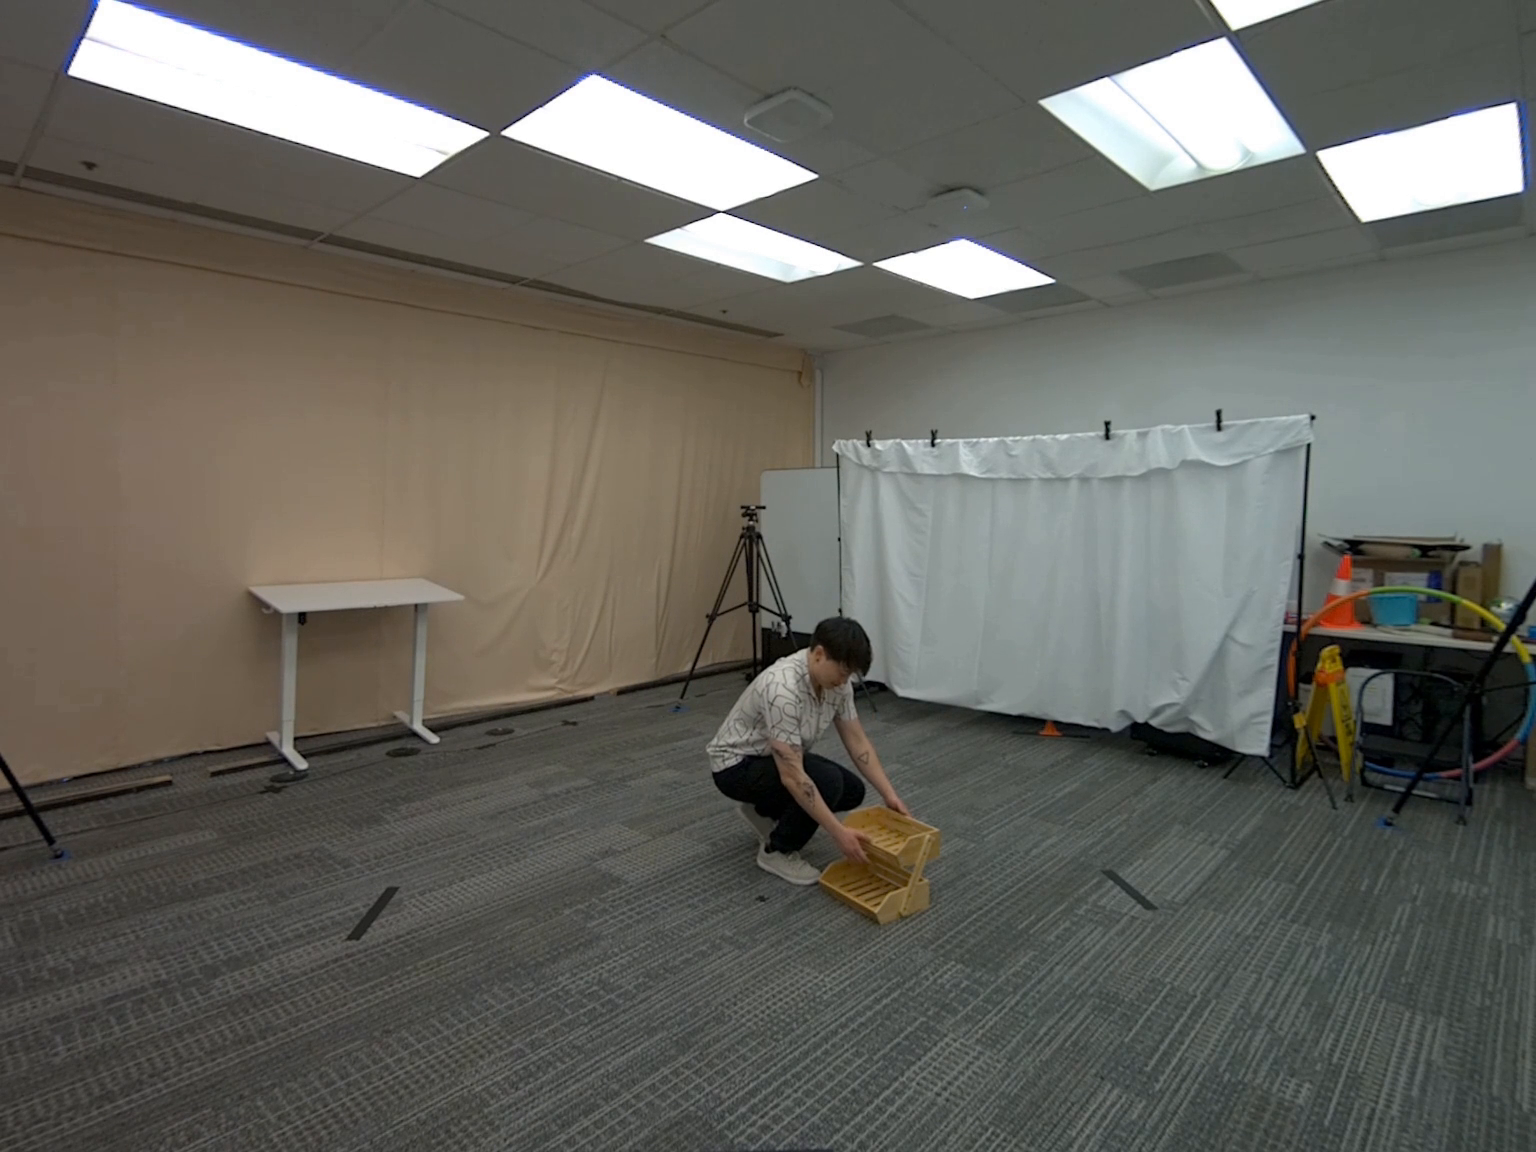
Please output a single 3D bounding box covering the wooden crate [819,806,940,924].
[{"bbox_3d":[0.392,1.002,2.982,0.293,0.273,0.335,-2,4,-35],"label":"wooden crate"}]
